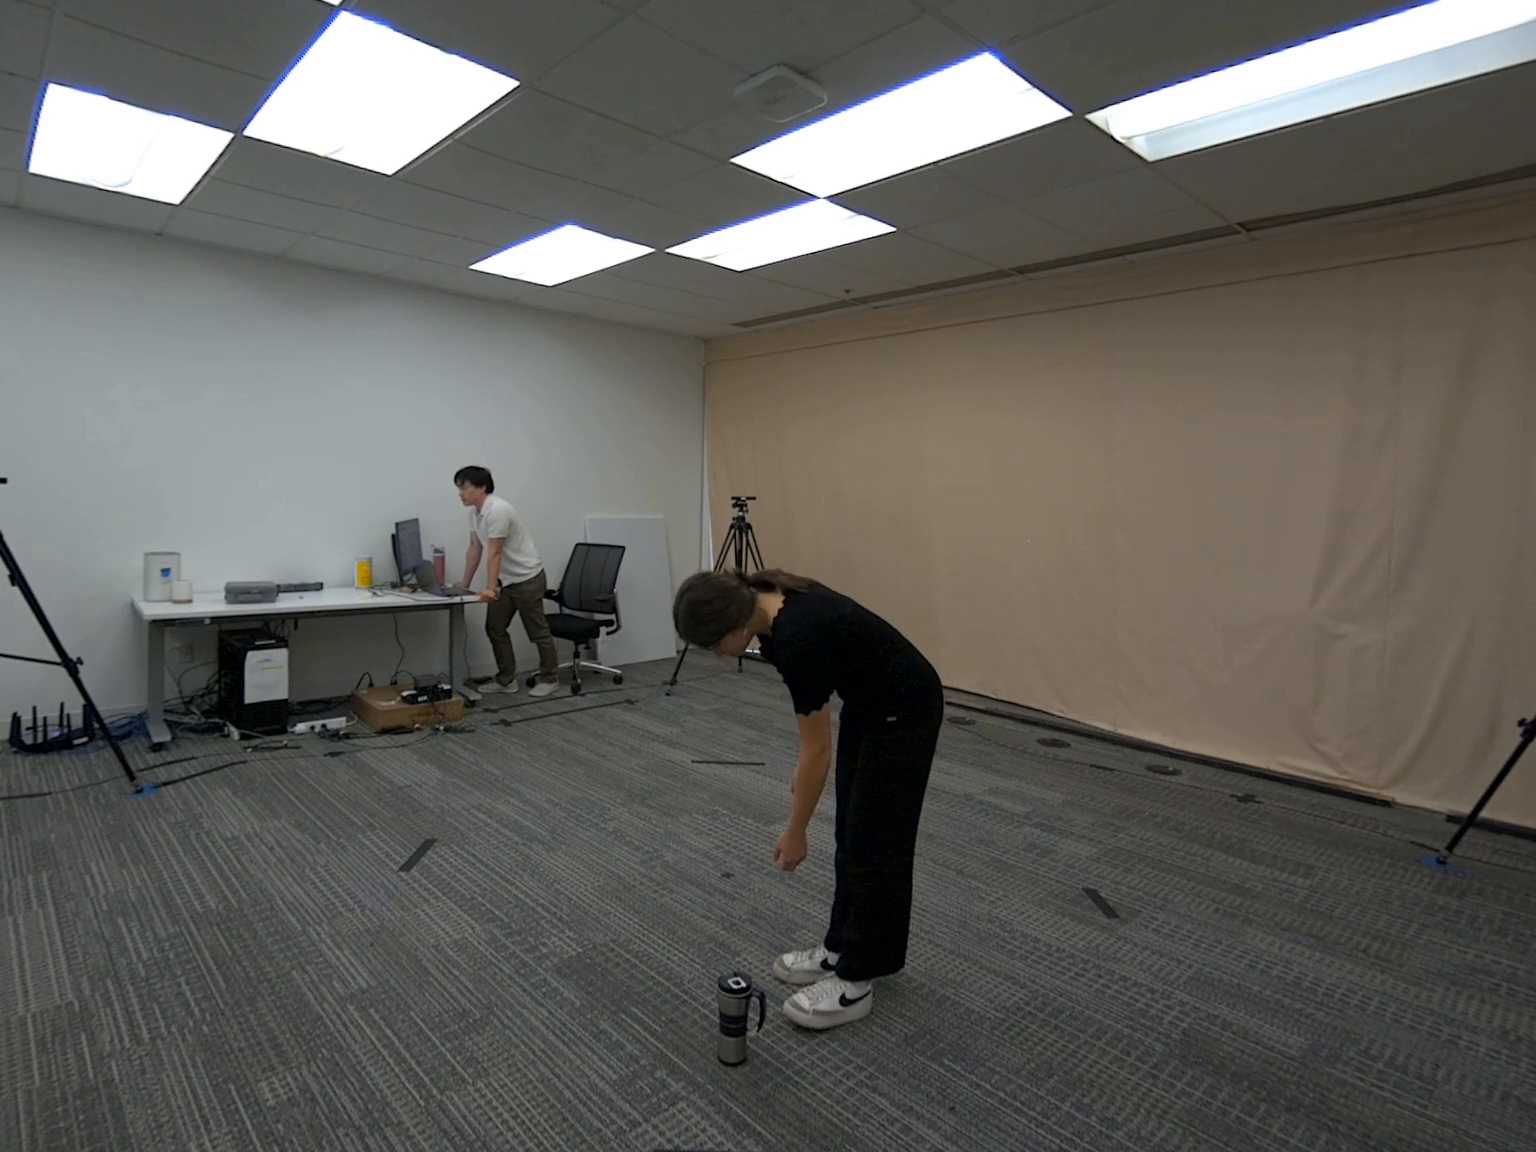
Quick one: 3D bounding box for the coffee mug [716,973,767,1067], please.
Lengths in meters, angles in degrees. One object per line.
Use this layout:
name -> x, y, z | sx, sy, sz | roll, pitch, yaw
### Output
coffee mug -> -0.073, 1.104, 2.068 | 0.125, 0.203, 0.086 | 1, 0, 44
